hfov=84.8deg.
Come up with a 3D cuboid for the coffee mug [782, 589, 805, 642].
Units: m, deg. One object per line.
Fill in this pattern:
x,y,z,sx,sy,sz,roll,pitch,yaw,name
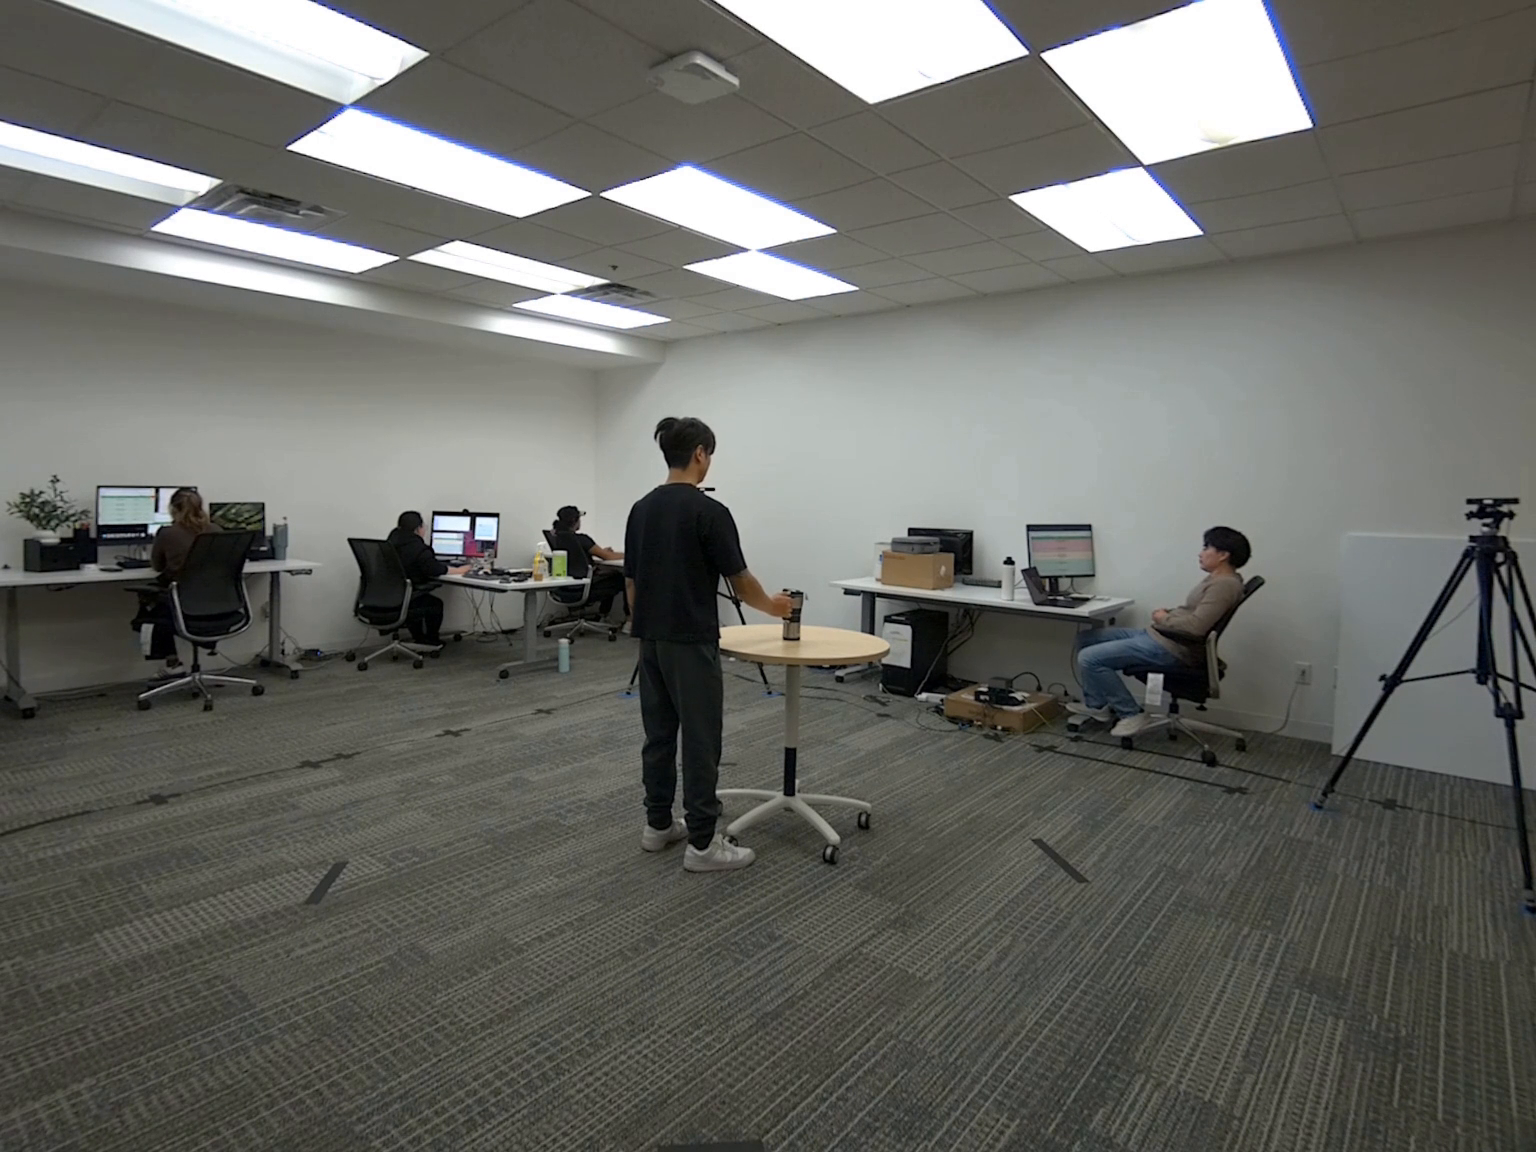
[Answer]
0.070,0.159,3.440,0.118,0.202,0.091,3,5,-40,coffee mug
